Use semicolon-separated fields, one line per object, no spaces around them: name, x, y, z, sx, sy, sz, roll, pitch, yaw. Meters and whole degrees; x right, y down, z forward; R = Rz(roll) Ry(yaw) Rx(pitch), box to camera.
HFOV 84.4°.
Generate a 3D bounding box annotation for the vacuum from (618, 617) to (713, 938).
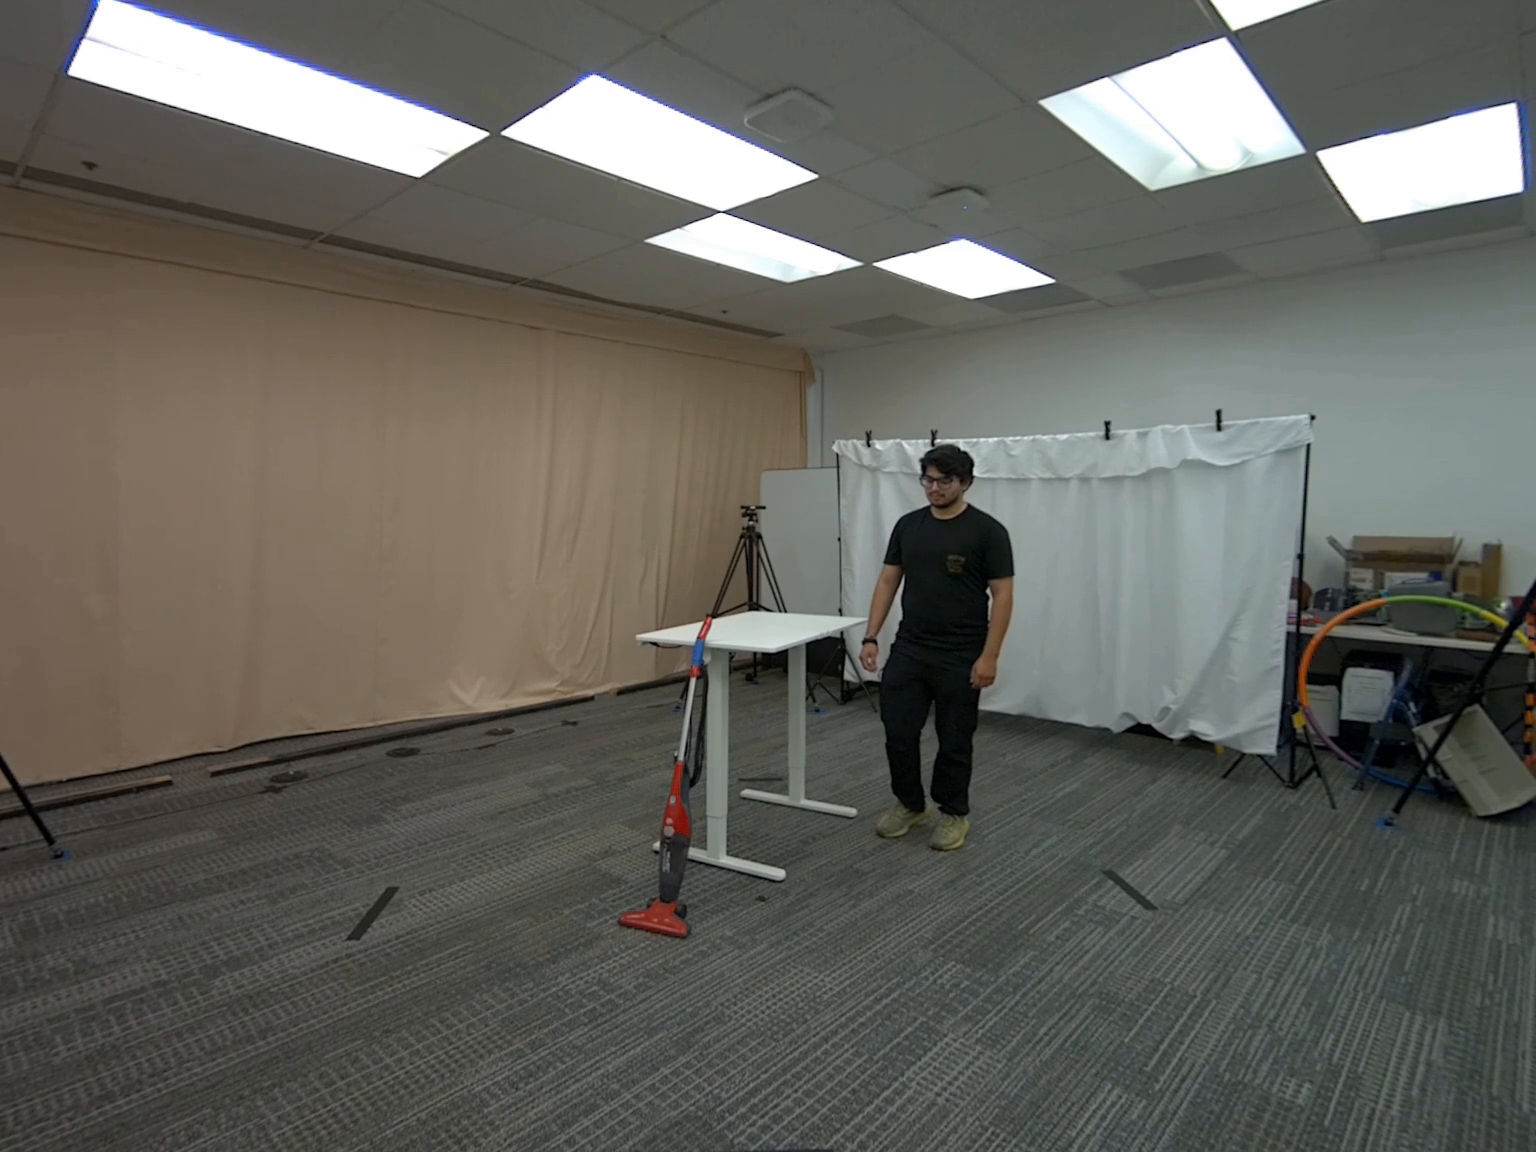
vacuum;-0.291;0.668;2.982;0.258;1.058;0.139;1;-20;22
